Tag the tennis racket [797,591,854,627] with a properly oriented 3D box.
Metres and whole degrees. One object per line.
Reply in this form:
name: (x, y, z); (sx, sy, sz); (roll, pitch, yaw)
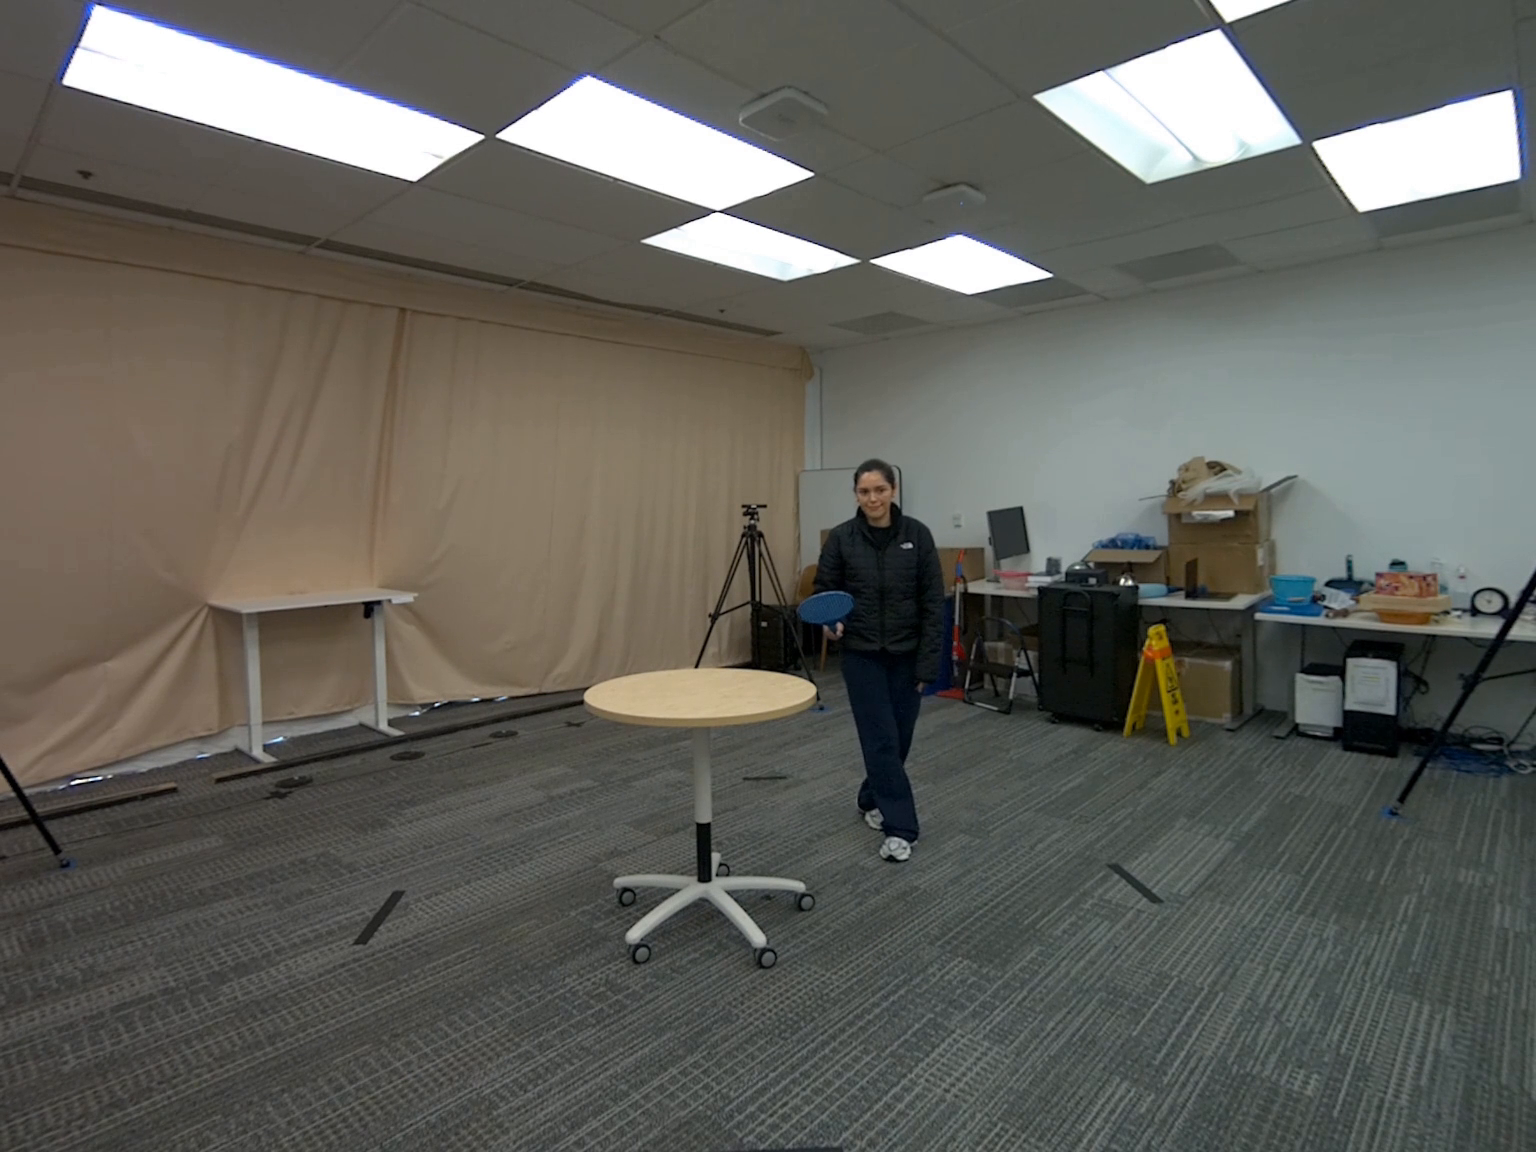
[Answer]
tennis racket: (0.226, 0.149, 3.146); (0.217, 0.032, 0.419); (-16, -28, 16)
